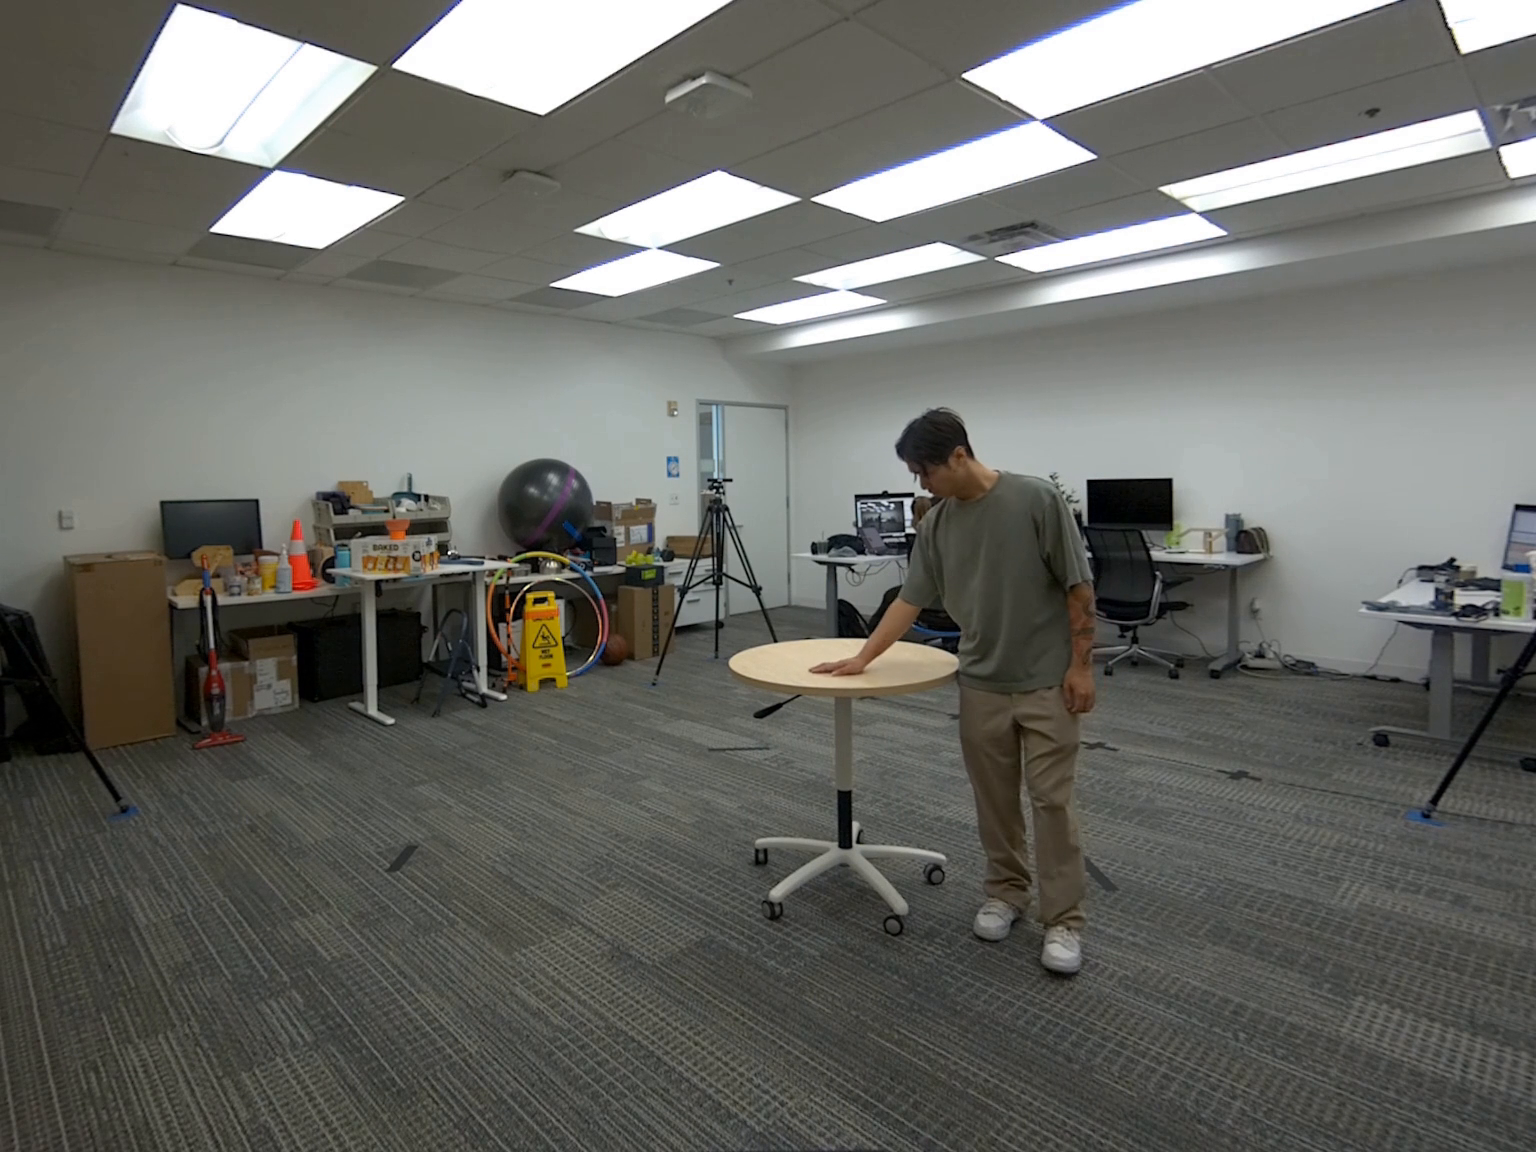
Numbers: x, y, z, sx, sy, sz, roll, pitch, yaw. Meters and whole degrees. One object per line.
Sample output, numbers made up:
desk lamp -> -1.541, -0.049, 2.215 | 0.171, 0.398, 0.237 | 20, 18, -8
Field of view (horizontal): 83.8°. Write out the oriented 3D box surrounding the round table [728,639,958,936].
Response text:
round table -> 0.264, 0.676, 2.898 | 0.763, 0.791, 0.768 | -1, 5, -2
